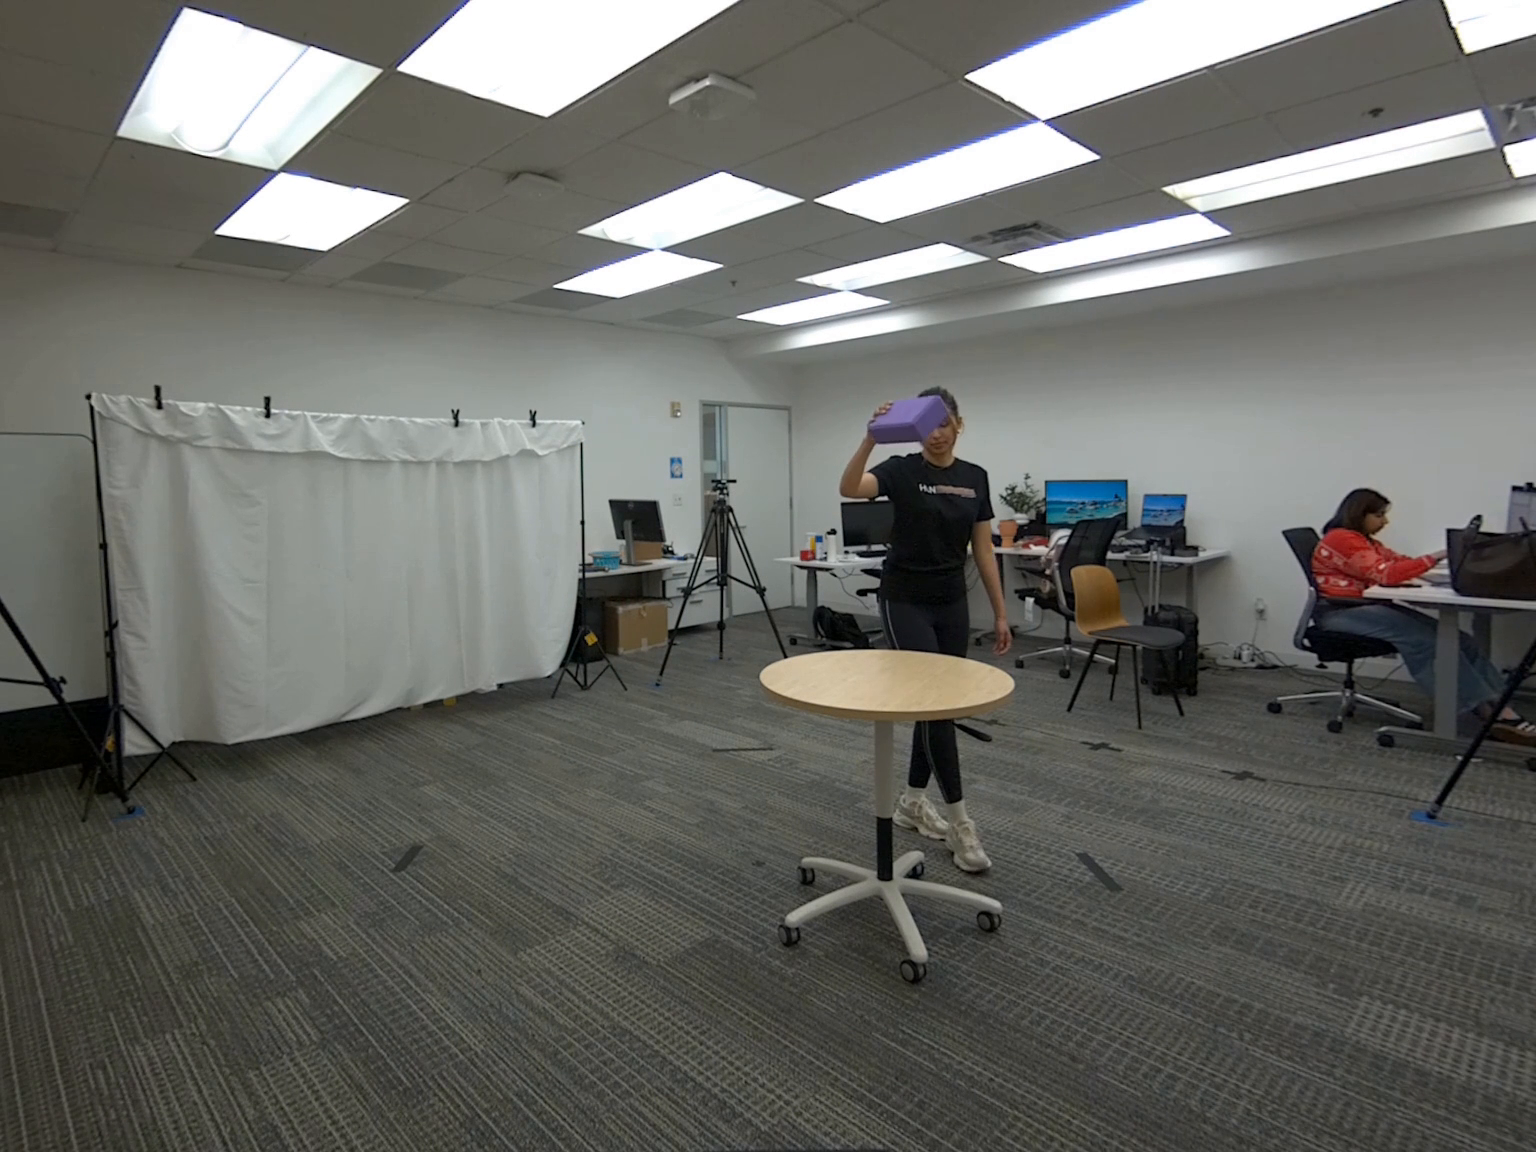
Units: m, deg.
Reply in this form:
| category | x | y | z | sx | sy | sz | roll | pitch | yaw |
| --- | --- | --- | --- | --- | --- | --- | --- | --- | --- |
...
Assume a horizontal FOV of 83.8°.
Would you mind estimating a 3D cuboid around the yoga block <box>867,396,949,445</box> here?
| category | x | y | z | sx | sy | sz | roll | pitch | yaw |
| --- | --- | --- | --- | --- | --- | --- | --- | --- | --- |
| yoga block | 0.444 | -0.488 | 2.685 | 0.149 | 0.074 | 0.235 | -44 | 23 | -17 |
